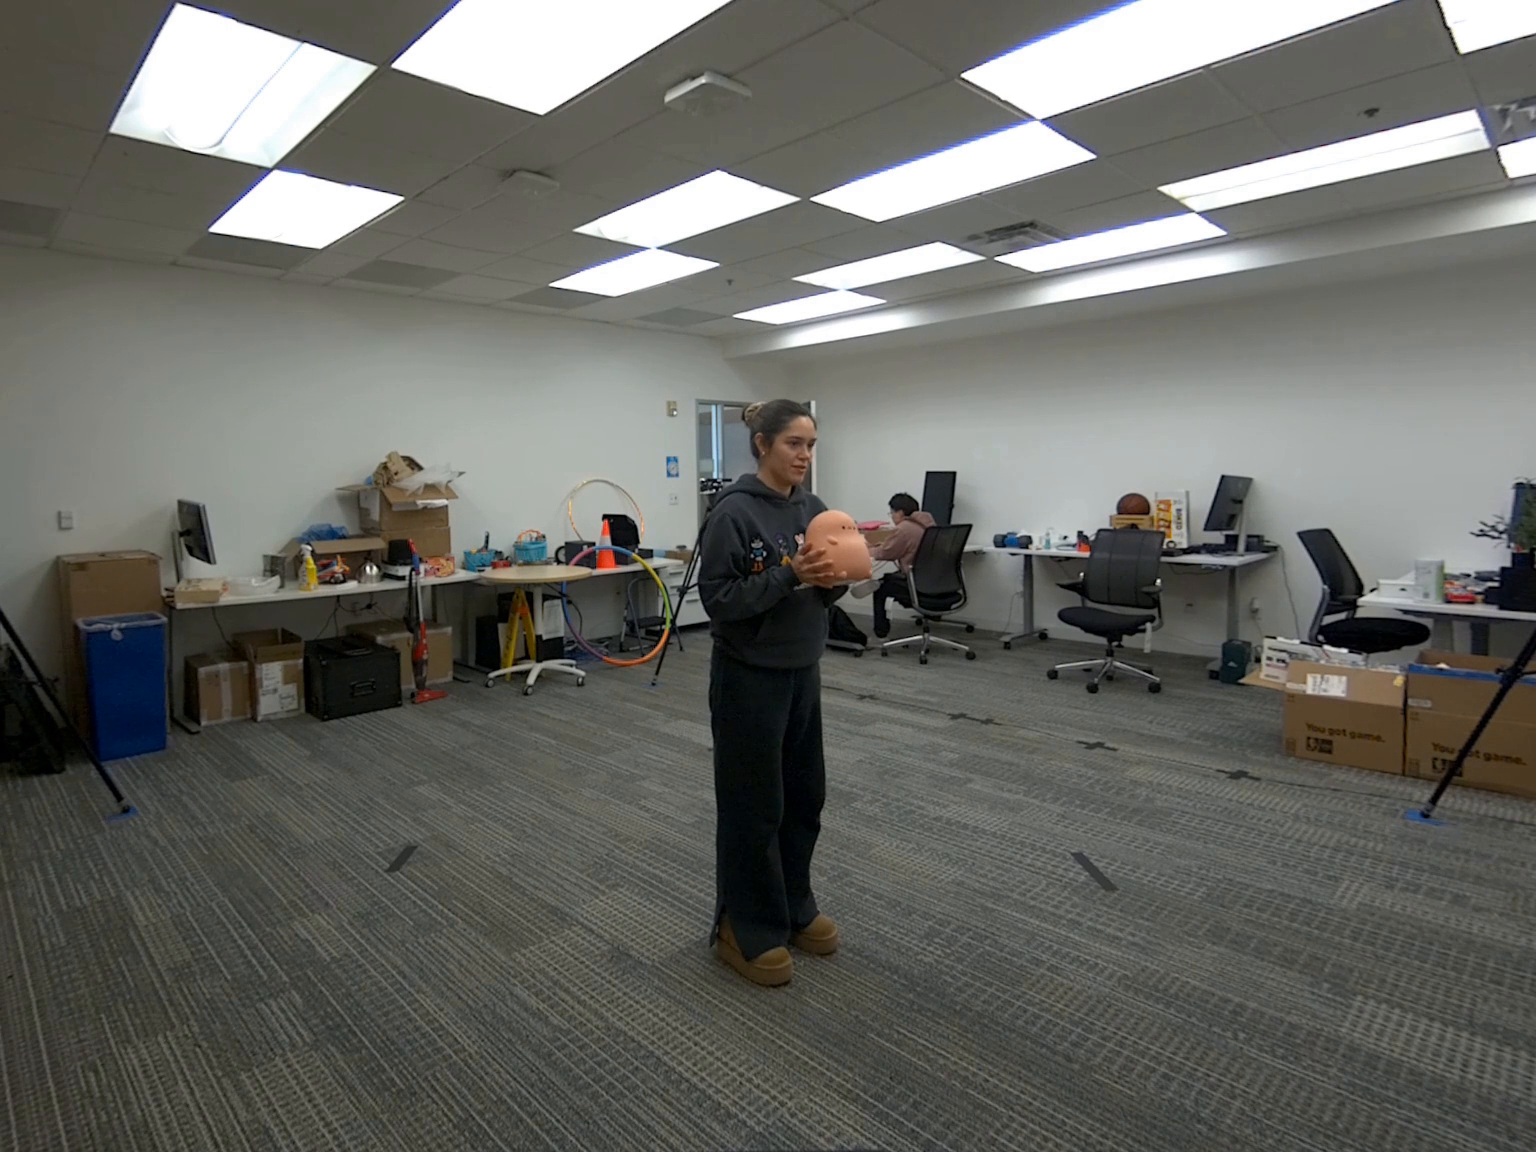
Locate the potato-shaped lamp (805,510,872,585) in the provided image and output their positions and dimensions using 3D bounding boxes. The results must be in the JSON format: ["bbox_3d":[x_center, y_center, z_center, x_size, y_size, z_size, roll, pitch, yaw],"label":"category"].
[{"bbox_3d":[0.171,-0.079,2.261,0.160,0.200,0.175,0,-10,-37],"label":"potato-shaped lamp"}]
